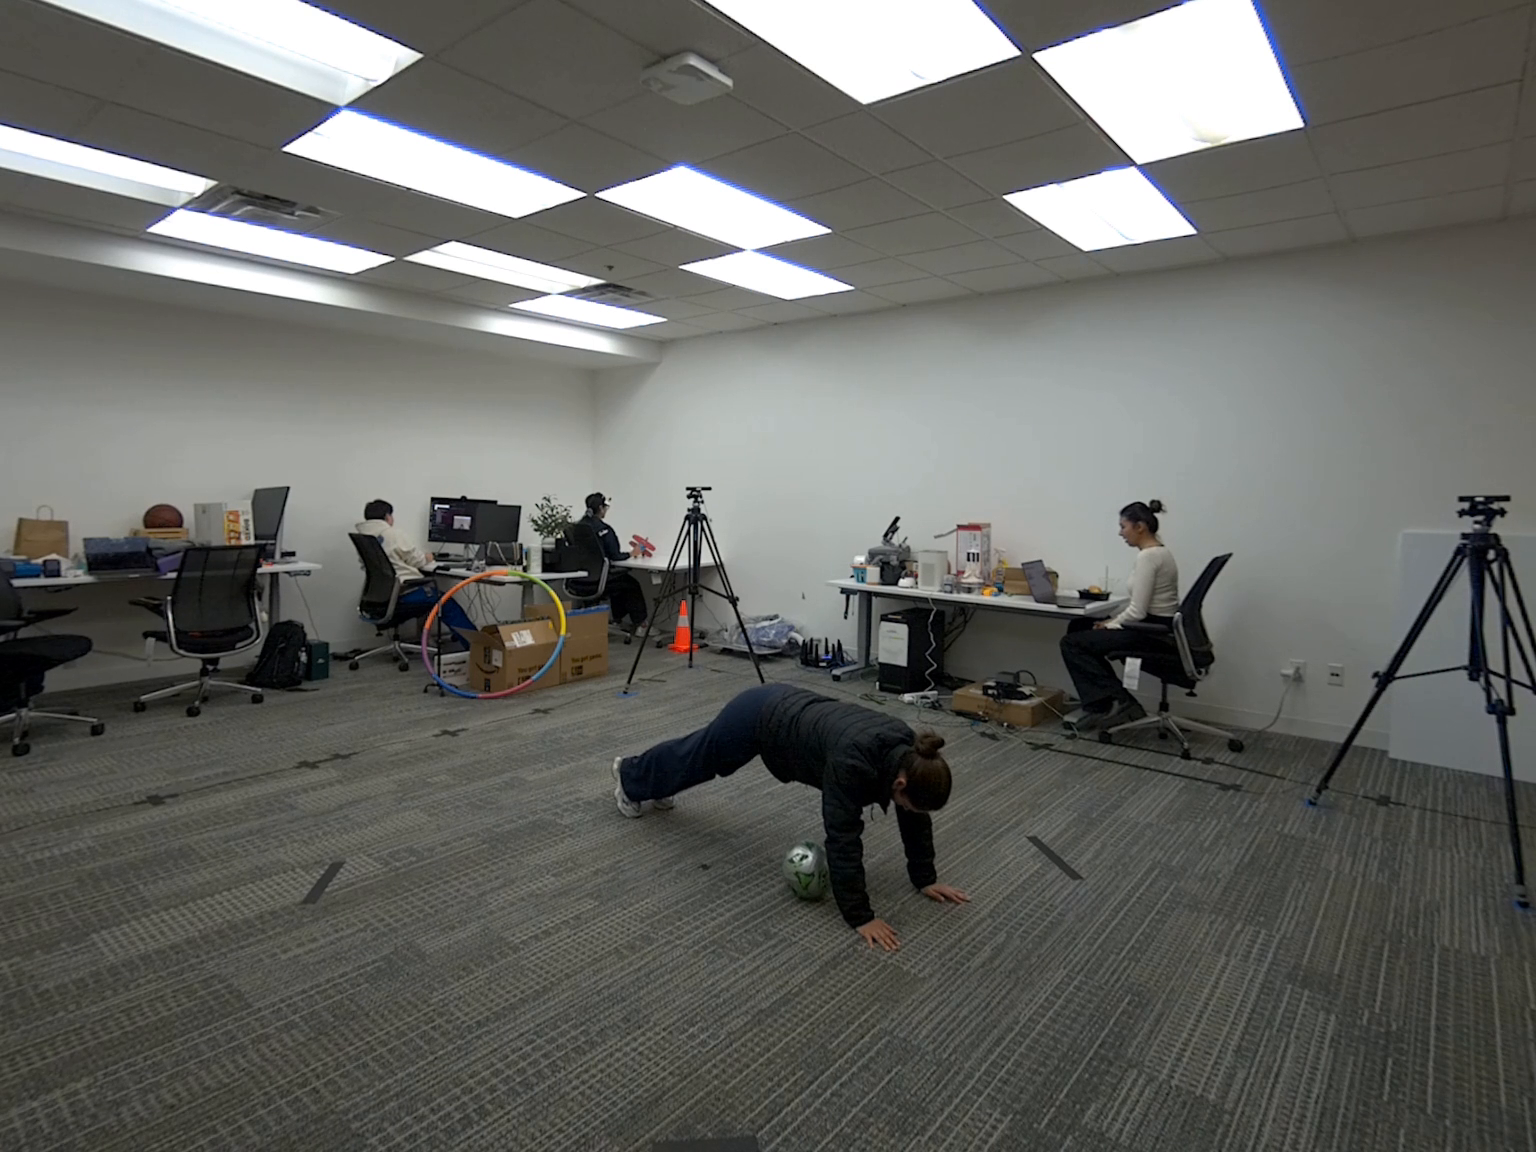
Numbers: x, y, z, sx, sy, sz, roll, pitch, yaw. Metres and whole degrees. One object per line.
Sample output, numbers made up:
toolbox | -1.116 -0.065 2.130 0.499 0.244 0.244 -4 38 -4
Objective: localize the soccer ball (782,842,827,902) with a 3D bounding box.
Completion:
soccer ball | 0.132 0.997 2.907 0.187 0.187 0.188 1 4 -2
